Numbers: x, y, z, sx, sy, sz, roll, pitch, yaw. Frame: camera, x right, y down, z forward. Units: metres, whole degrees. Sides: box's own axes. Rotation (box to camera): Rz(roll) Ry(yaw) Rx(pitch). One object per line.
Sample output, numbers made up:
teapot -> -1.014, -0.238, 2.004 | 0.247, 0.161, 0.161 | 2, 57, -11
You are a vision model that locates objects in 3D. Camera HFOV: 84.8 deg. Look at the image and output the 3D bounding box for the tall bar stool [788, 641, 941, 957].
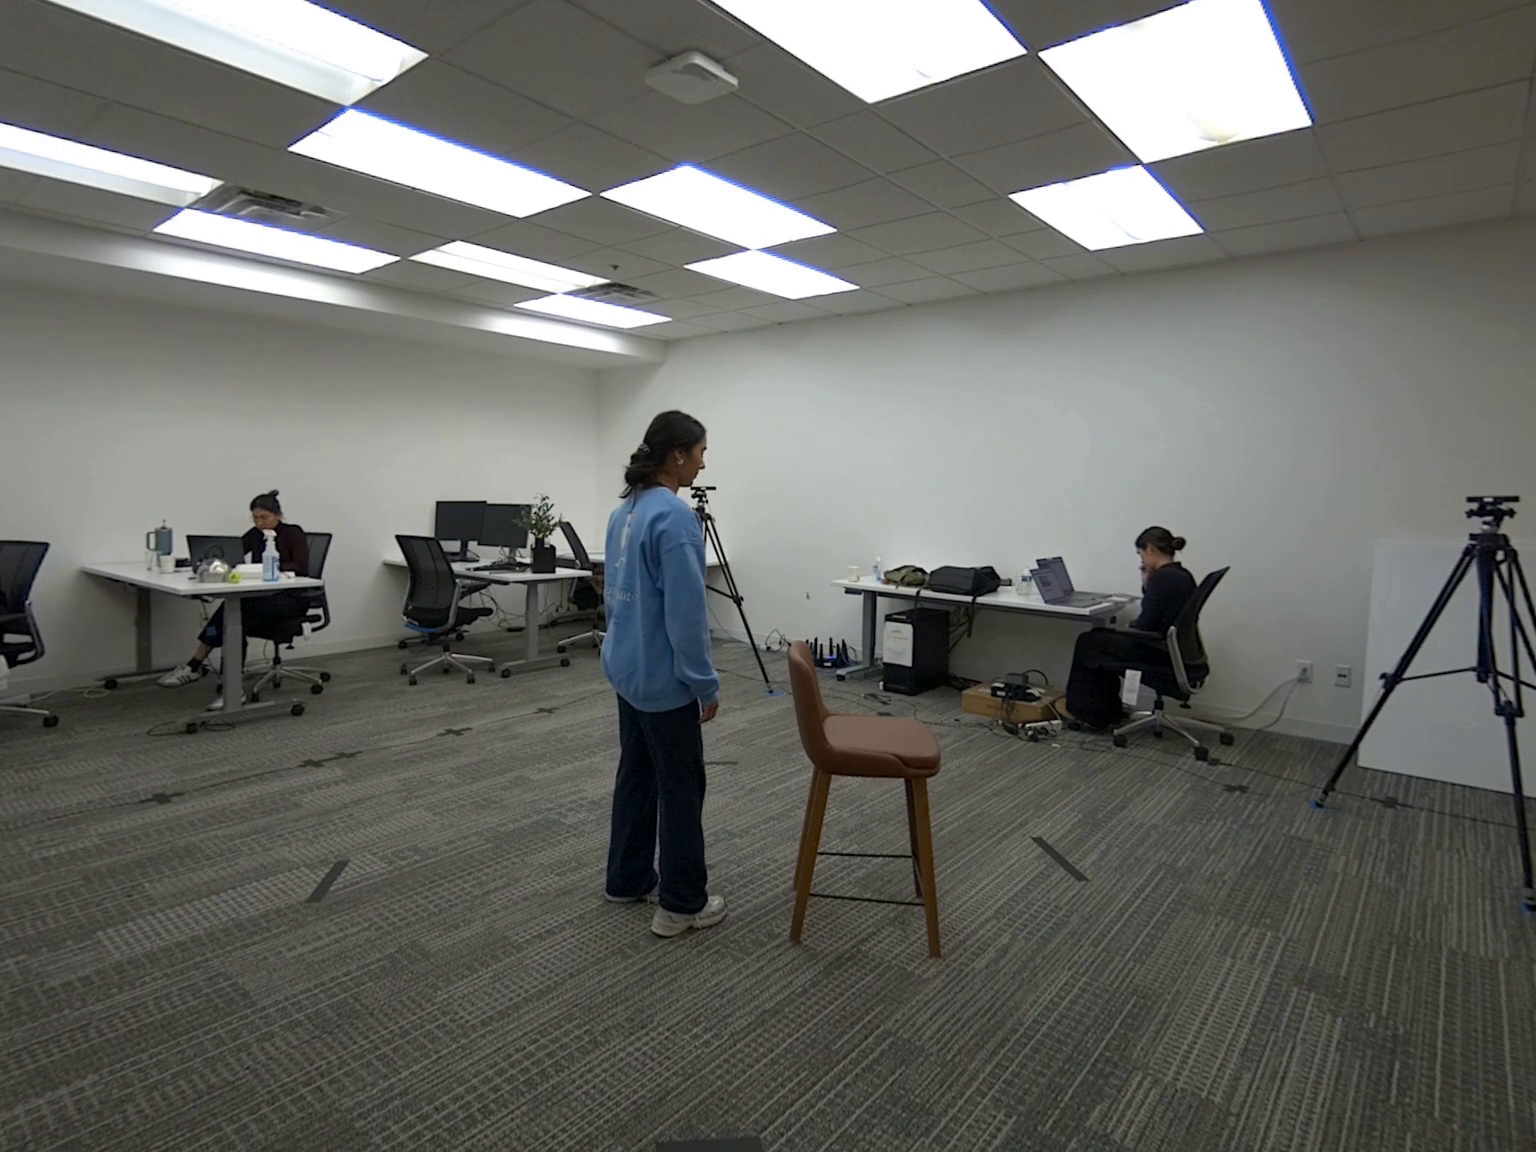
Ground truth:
tall bar stool -> 0.301, 0.678, 2.740 | 0.471, 0.887, 0.454 | 0, 3, 6
